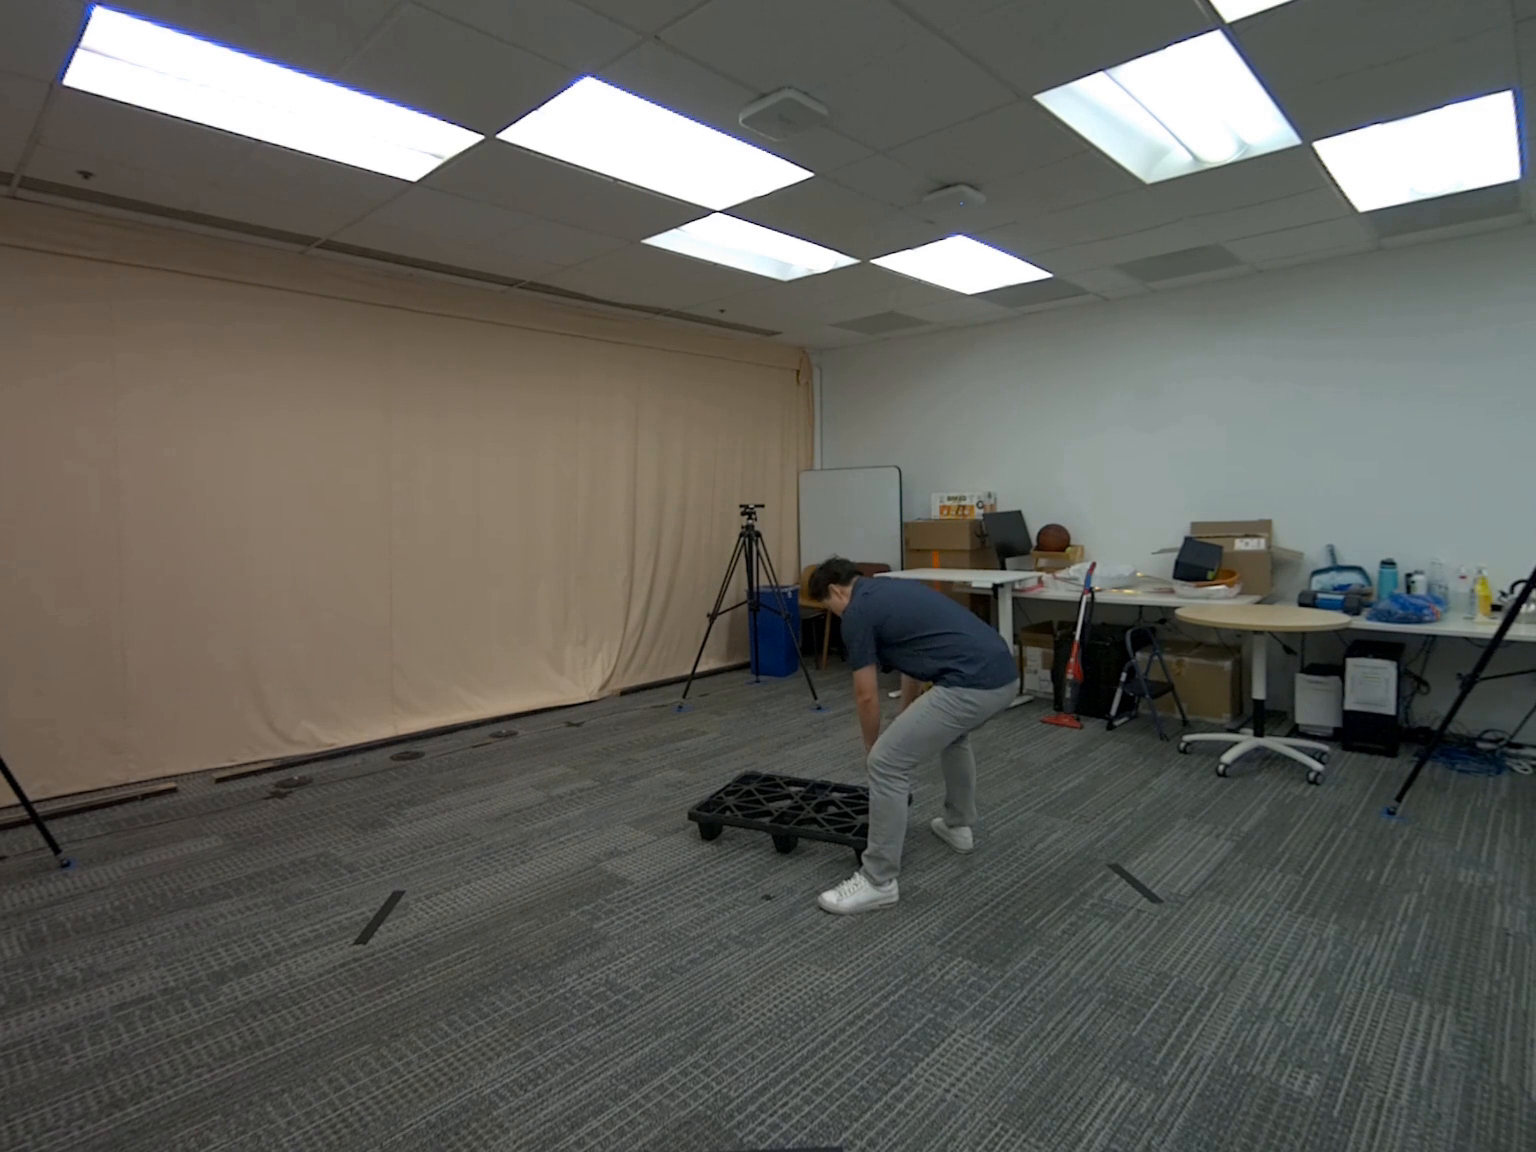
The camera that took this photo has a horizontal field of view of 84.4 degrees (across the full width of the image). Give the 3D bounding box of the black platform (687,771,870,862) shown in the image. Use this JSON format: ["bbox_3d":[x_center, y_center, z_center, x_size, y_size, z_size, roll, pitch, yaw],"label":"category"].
[{"bbox_3d":[0.149,1.018,3.552,0.826,0.143,0.591,1,5,25],"label":"black platform"}]
